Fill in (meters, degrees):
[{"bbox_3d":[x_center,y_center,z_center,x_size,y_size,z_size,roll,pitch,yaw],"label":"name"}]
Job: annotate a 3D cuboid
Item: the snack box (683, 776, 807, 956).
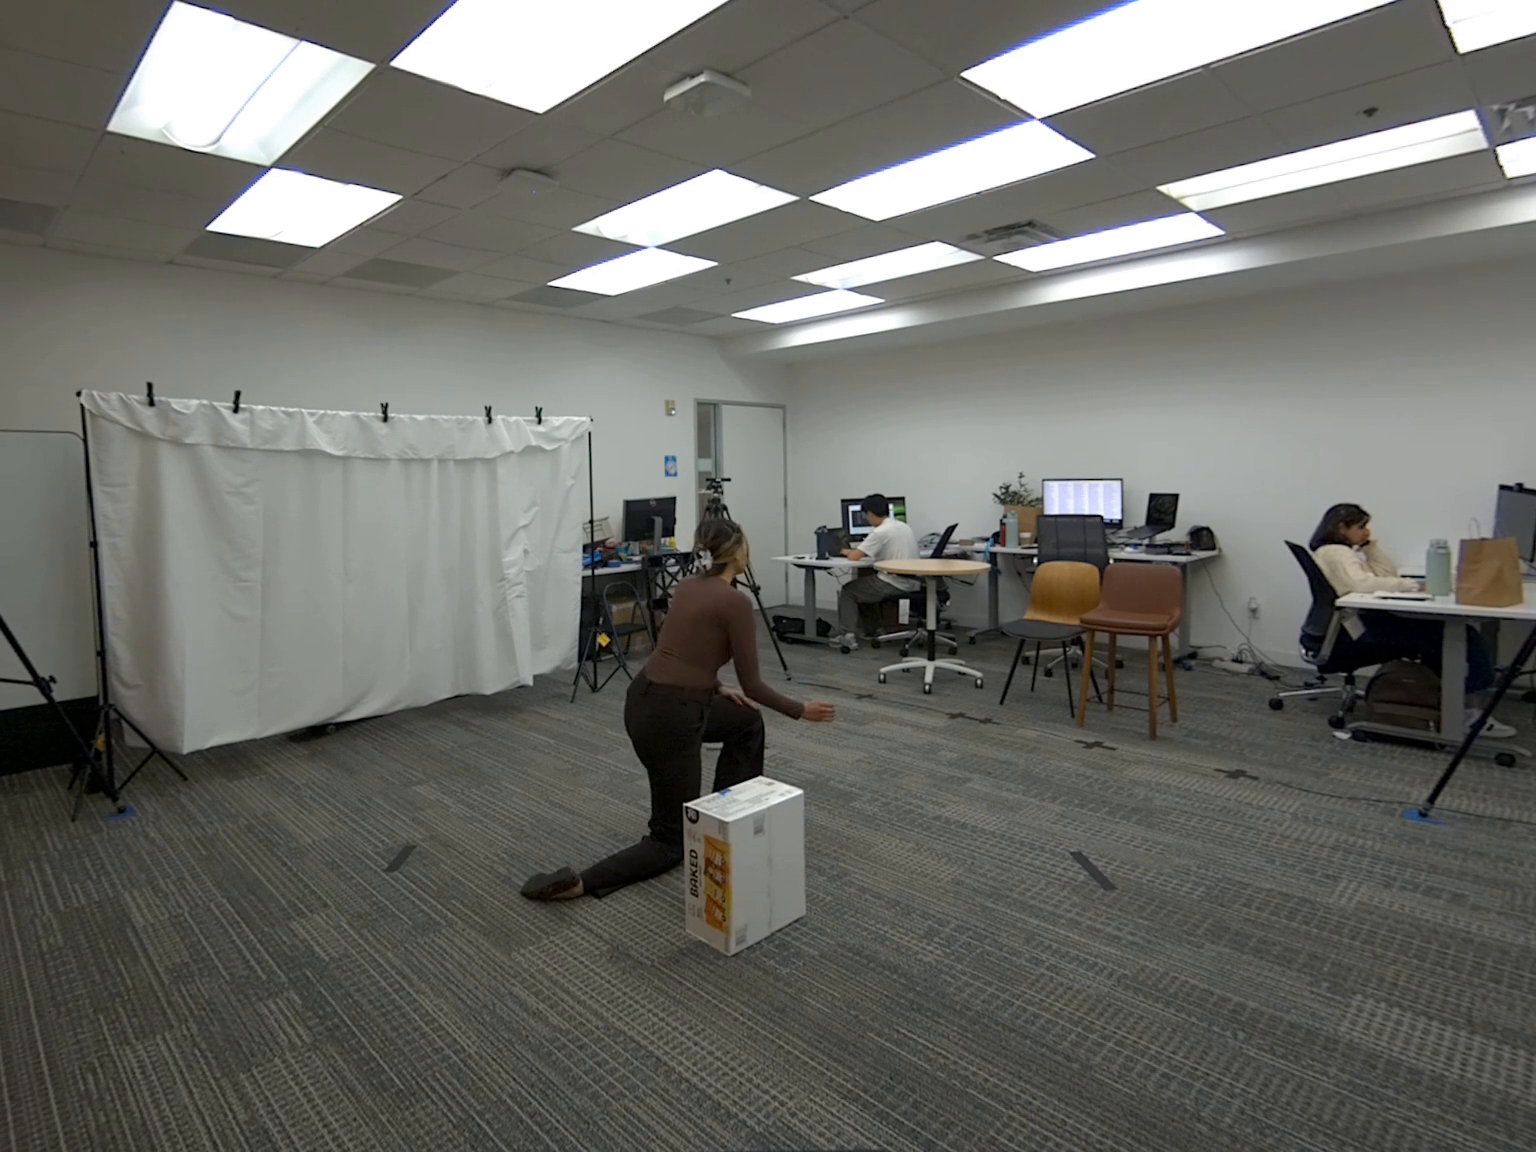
[{"bbox_3d":[-0.065,0.893,2.670,0.212,0.404,0.331,3,6,45],"label":"snack box"}]
